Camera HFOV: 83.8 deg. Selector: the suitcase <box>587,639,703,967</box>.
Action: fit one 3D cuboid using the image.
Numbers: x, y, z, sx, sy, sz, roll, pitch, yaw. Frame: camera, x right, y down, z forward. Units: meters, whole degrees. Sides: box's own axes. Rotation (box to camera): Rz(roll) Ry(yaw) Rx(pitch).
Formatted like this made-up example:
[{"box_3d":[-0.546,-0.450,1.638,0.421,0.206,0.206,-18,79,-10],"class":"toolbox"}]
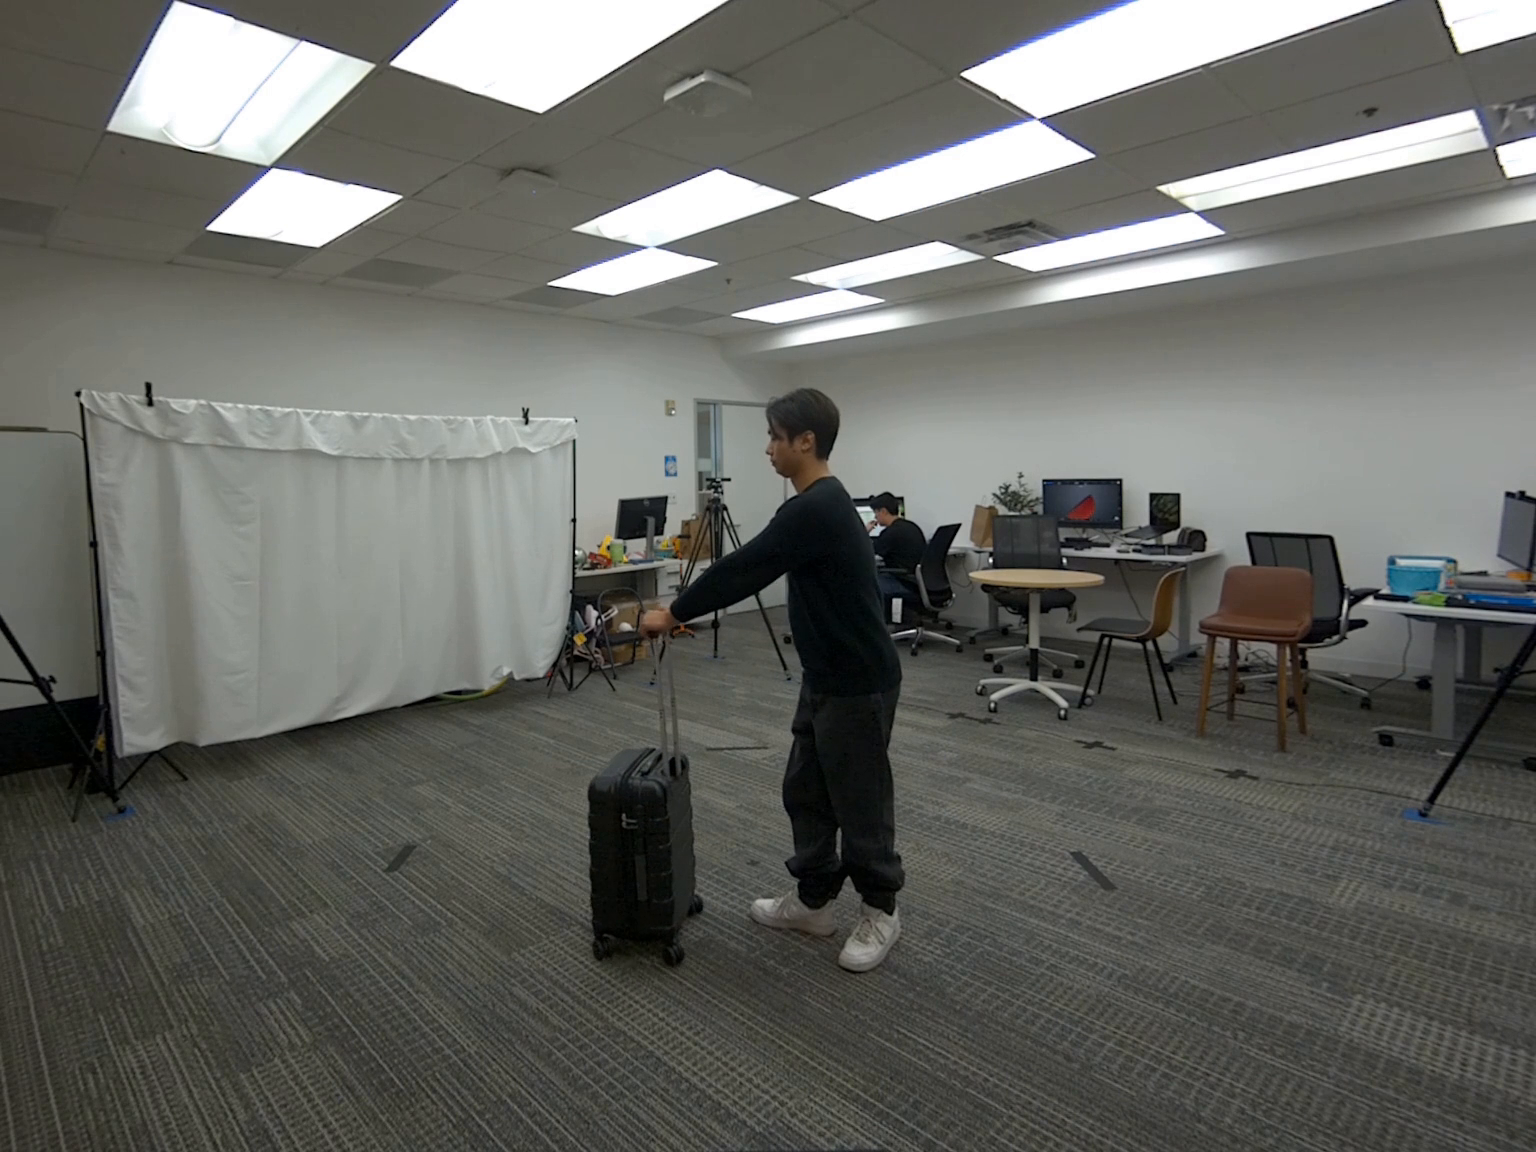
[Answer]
[{"box_3d":[-0.394,0.627,2.624,0.259,0.977,0.381,-4,2,10],"class":"suitcase"}]
